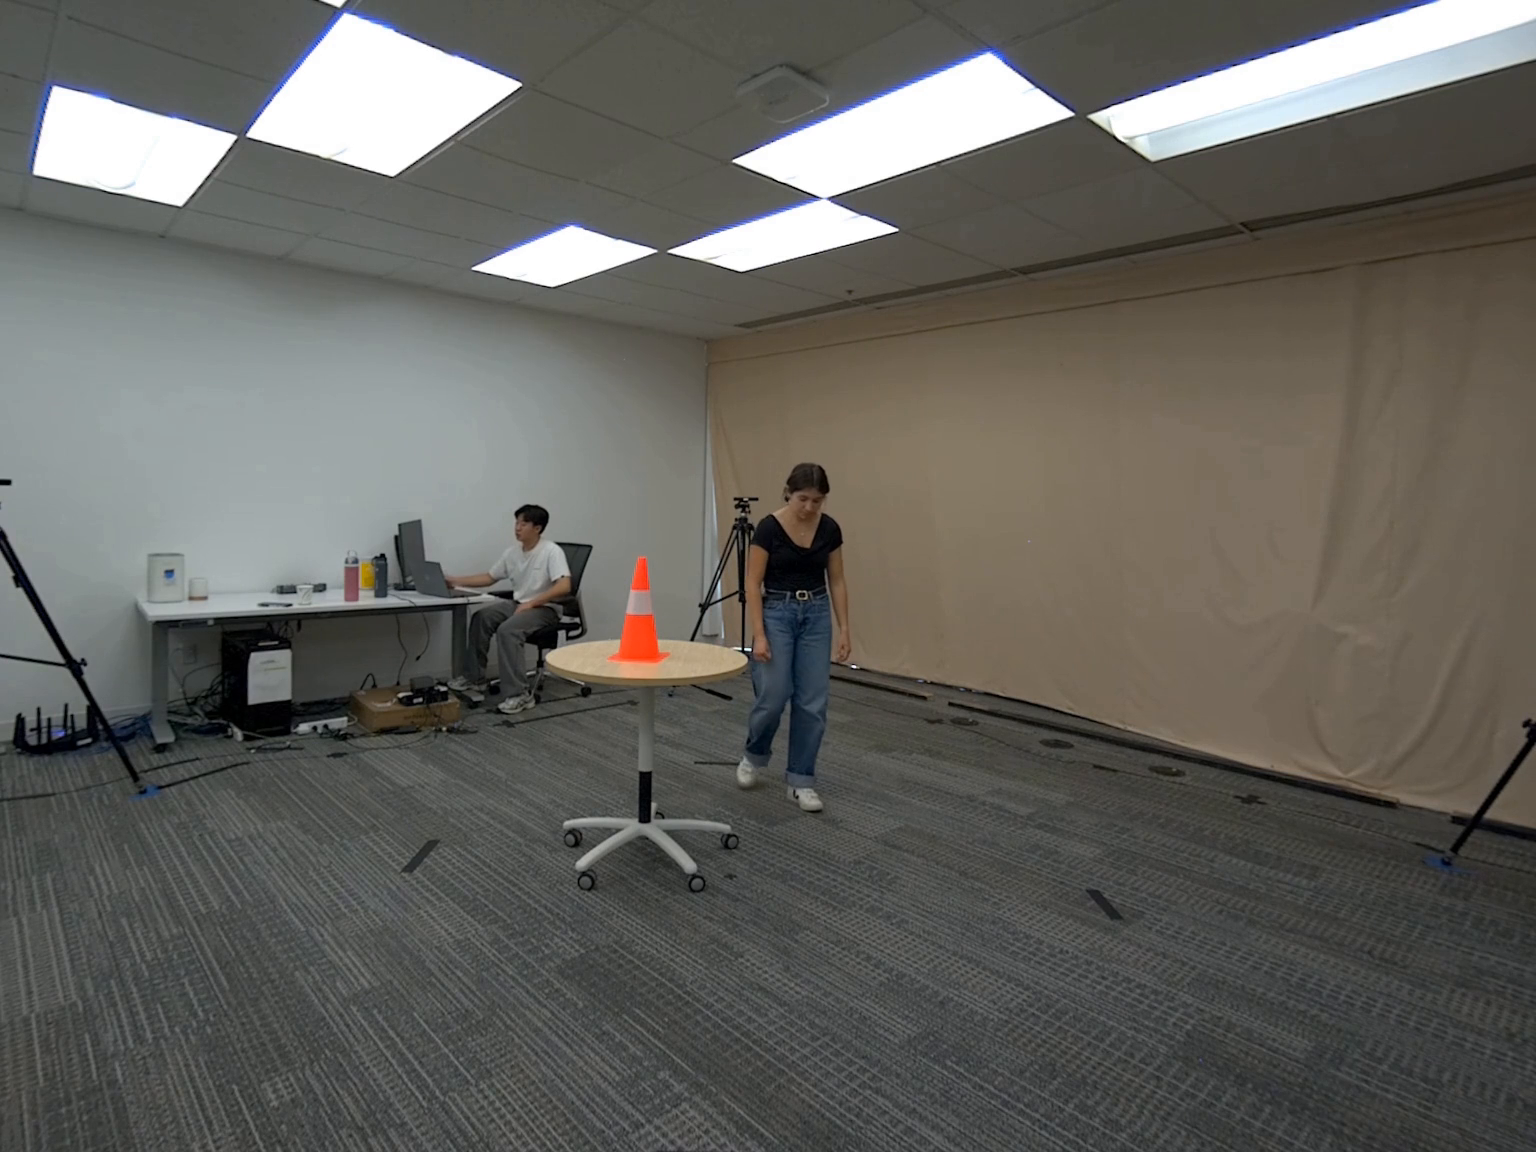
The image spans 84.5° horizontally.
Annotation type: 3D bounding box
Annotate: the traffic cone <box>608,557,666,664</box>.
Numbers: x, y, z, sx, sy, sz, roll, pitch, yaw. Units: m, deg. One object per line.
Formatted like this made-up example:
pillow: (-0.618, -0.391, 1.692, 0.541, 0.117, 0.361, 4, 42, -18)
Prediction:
traffic cone: (-0.493, 0.125, 3.193, 0.204, 0.383, 0.204, 2, 2, 7)
